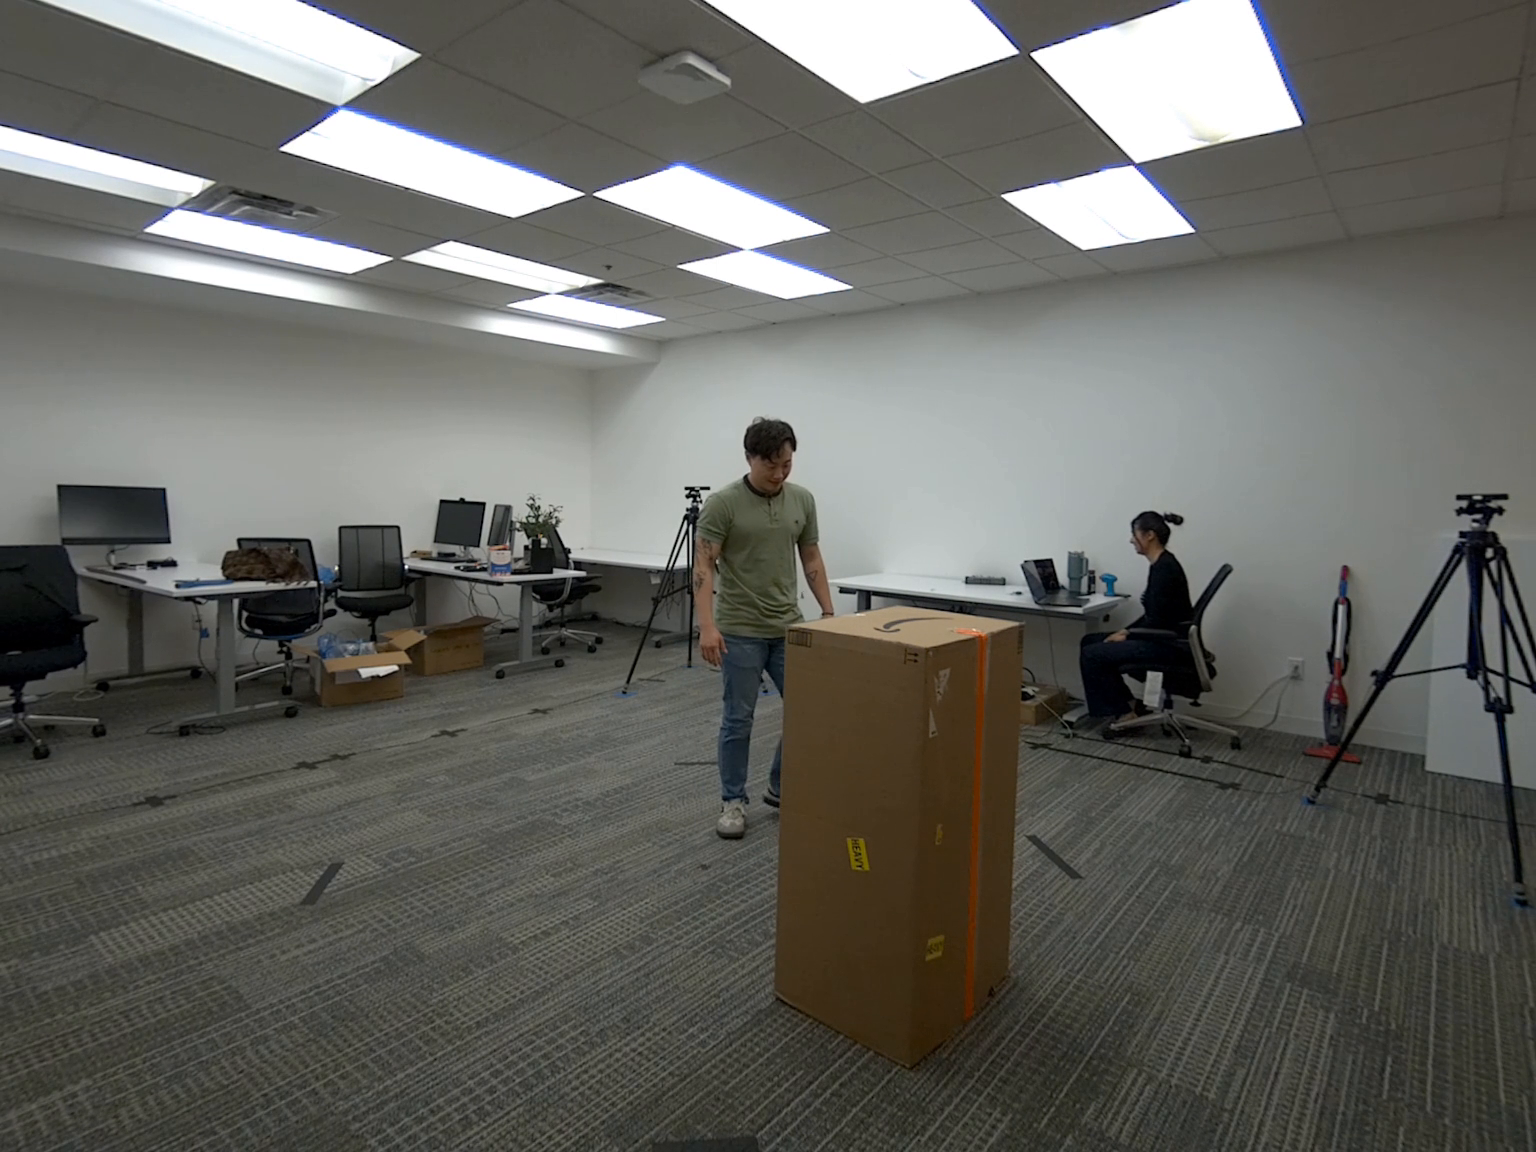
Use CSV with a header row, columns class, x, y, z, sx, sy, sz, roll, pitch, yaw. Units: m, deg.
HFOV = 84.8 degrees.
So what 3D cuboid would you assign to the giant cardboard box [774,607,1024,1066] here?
class,x,y,z,sx,sy,sz,roll,pitch,yaw
giant cardboard box,0.373,0.639,2.363,0.441,1.022,0.560,5,5,40
